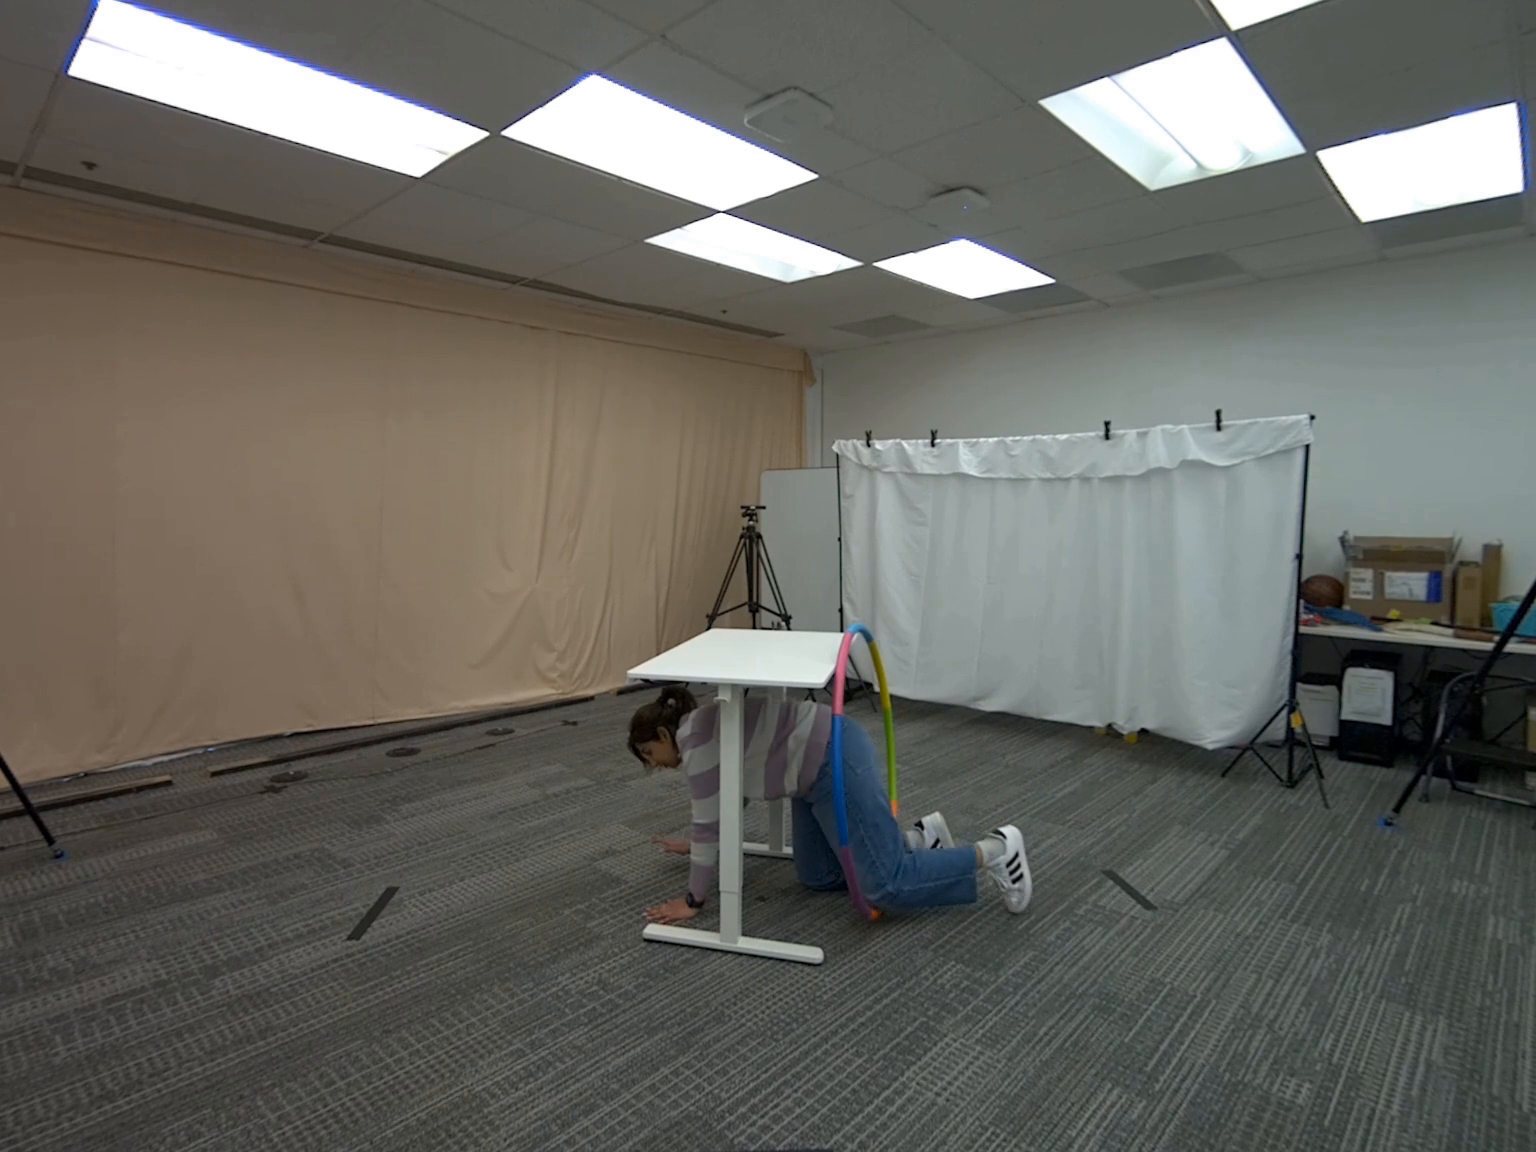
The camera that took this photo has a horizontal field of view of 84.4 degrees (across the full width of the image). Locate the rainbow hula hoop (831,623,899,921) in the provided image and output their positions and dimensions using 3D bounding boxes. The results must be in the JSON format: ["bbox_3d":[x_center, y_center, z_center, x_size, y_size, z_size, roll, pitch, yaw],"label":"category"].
[{"bbox_3d":[0.356,0.664,2.920,0.036,0.978,0.962,-7,1,17],"label":"rainbow hula hoop"}]
